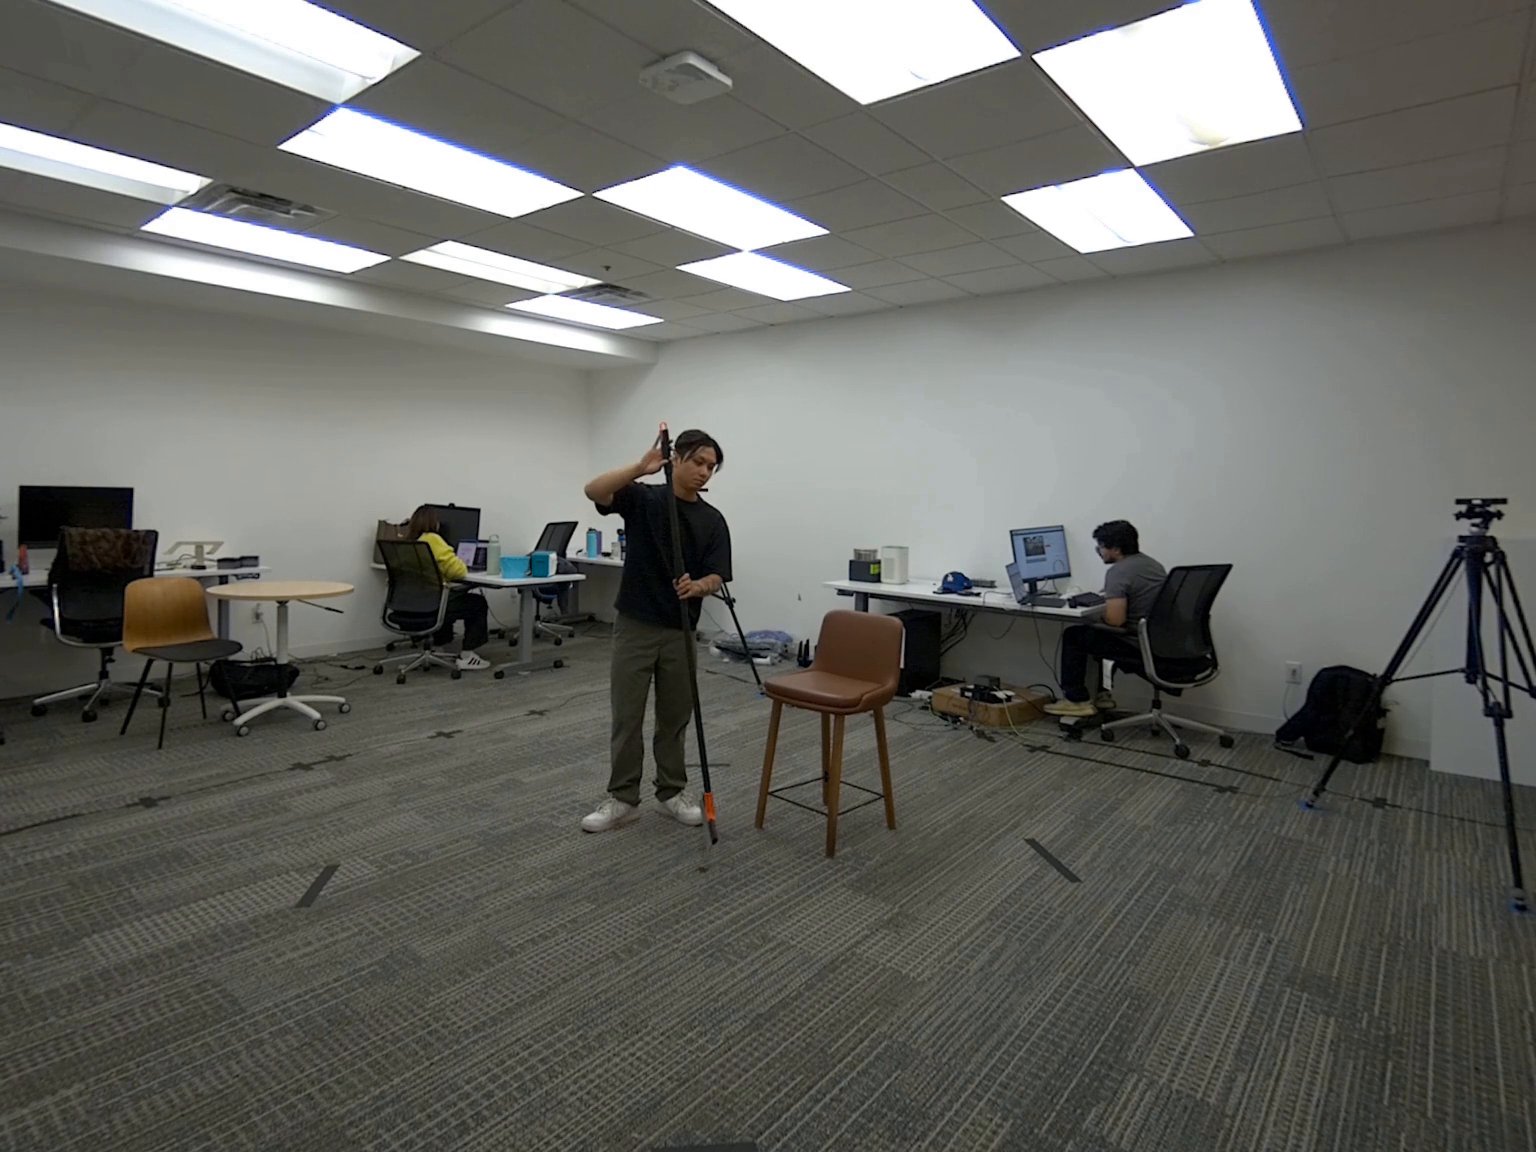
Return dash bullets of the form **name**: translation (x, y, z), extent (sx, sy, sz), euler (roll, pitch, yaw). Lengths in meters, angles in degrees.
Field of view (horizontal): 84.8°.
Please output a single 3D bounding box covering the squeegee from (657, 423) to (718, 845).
- **squeegee**: translation (-0.310, 0.206, 3.197), extent (0.053, 1.528, 0.441), euler (-6, 6, -4)
